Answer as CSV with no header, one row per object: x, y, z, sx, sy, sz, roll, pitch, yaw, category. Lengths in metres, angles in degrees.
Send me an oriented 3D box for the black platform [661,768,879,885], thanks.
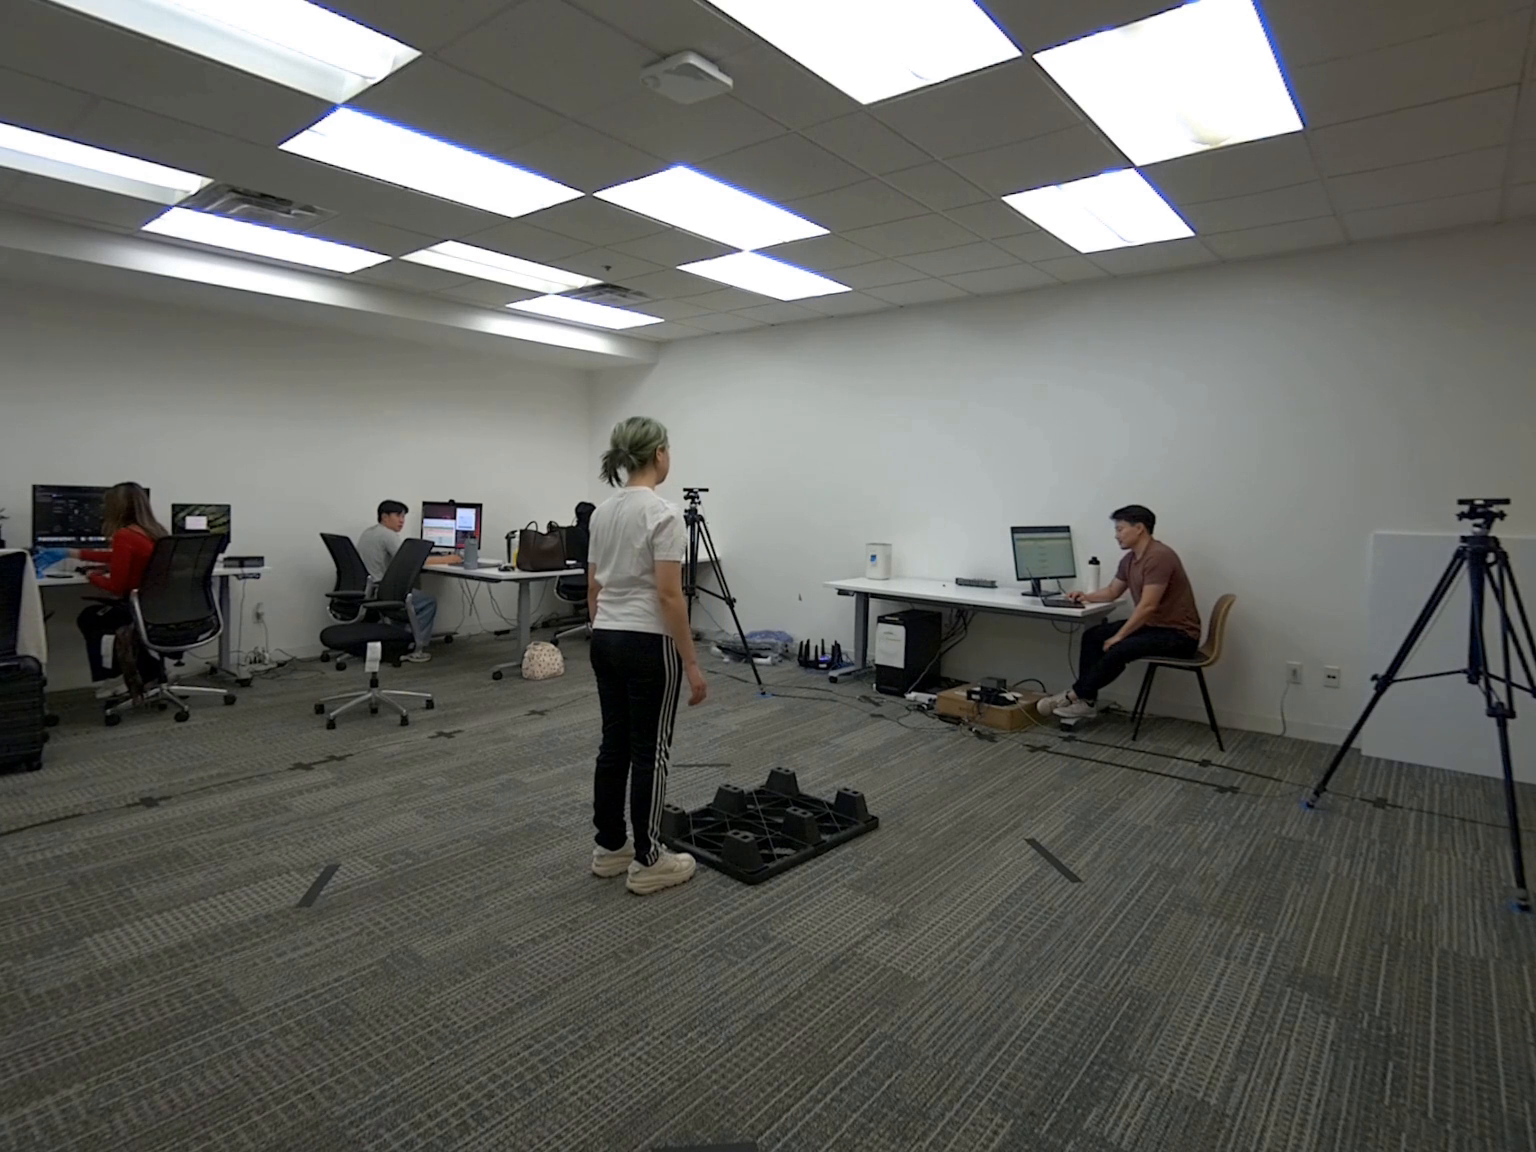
-0.026,0.973,3.455,0.626,0.143,0.782,5,7,42,black platform
